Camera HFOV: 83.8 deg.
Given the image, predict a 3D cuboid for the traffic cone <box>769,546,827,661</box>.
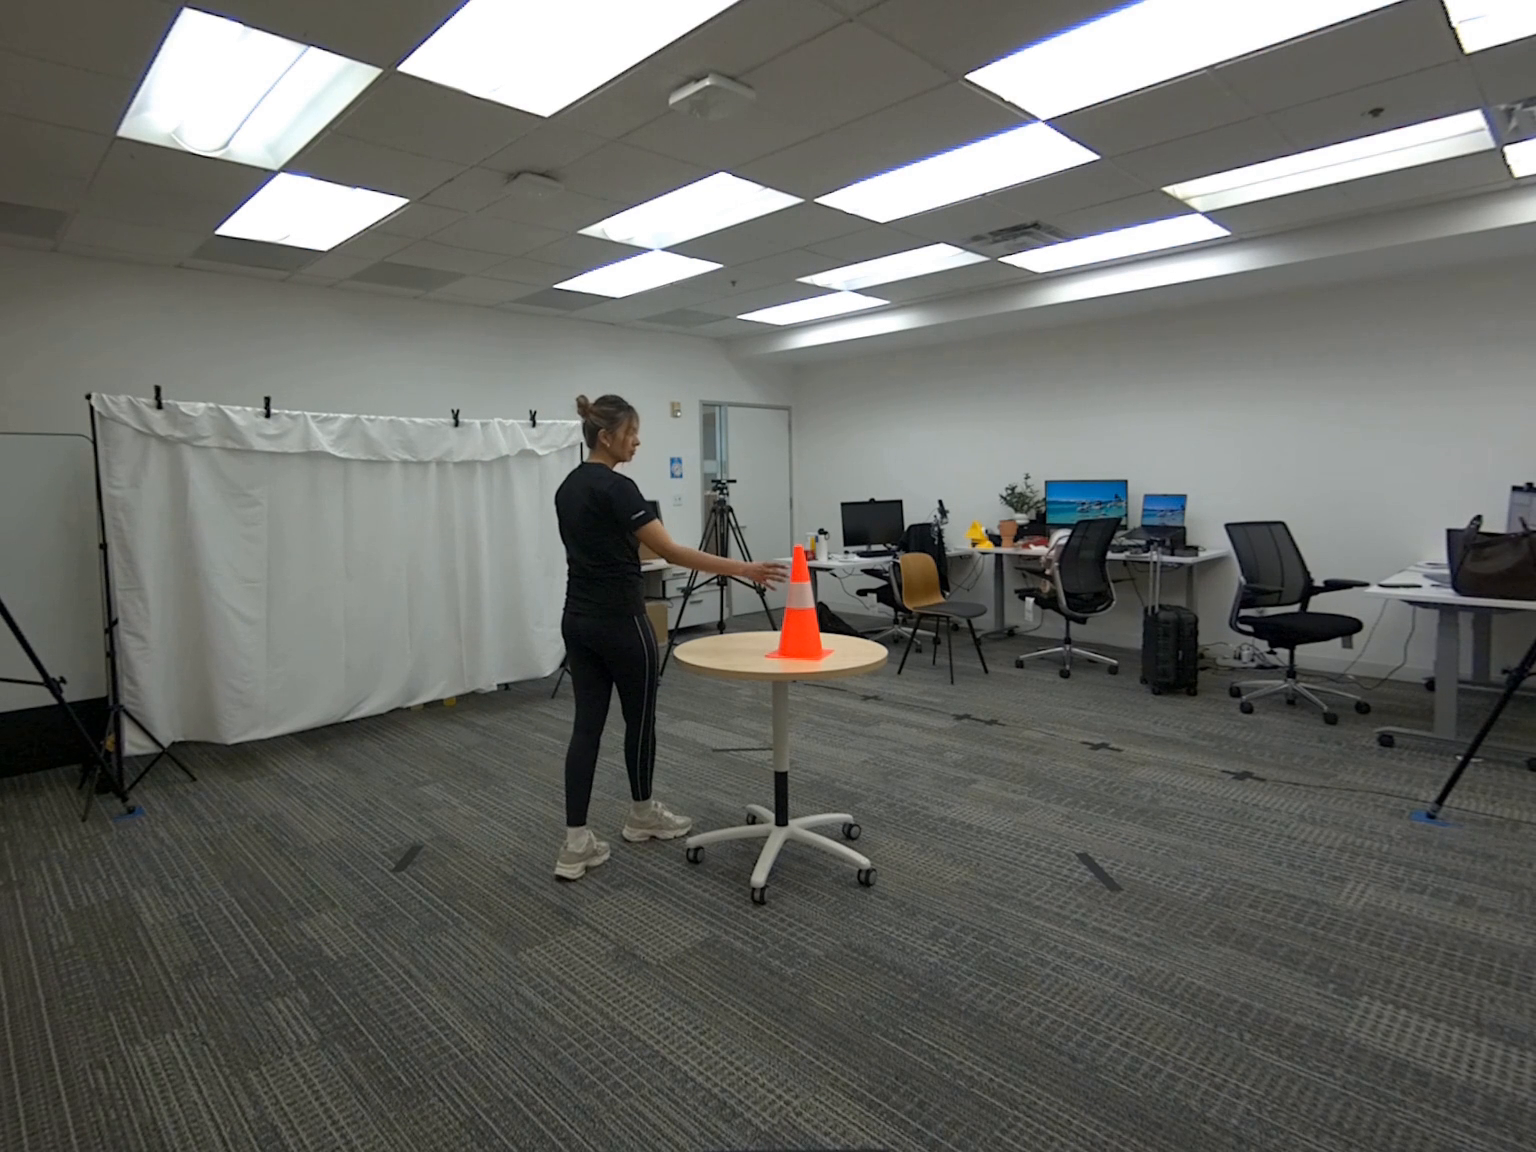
[{"bbox_3d":[0.105,0.086,2.988,0.210,0.383,0.199,-1,2,26],"label":"traffic cone"}]
